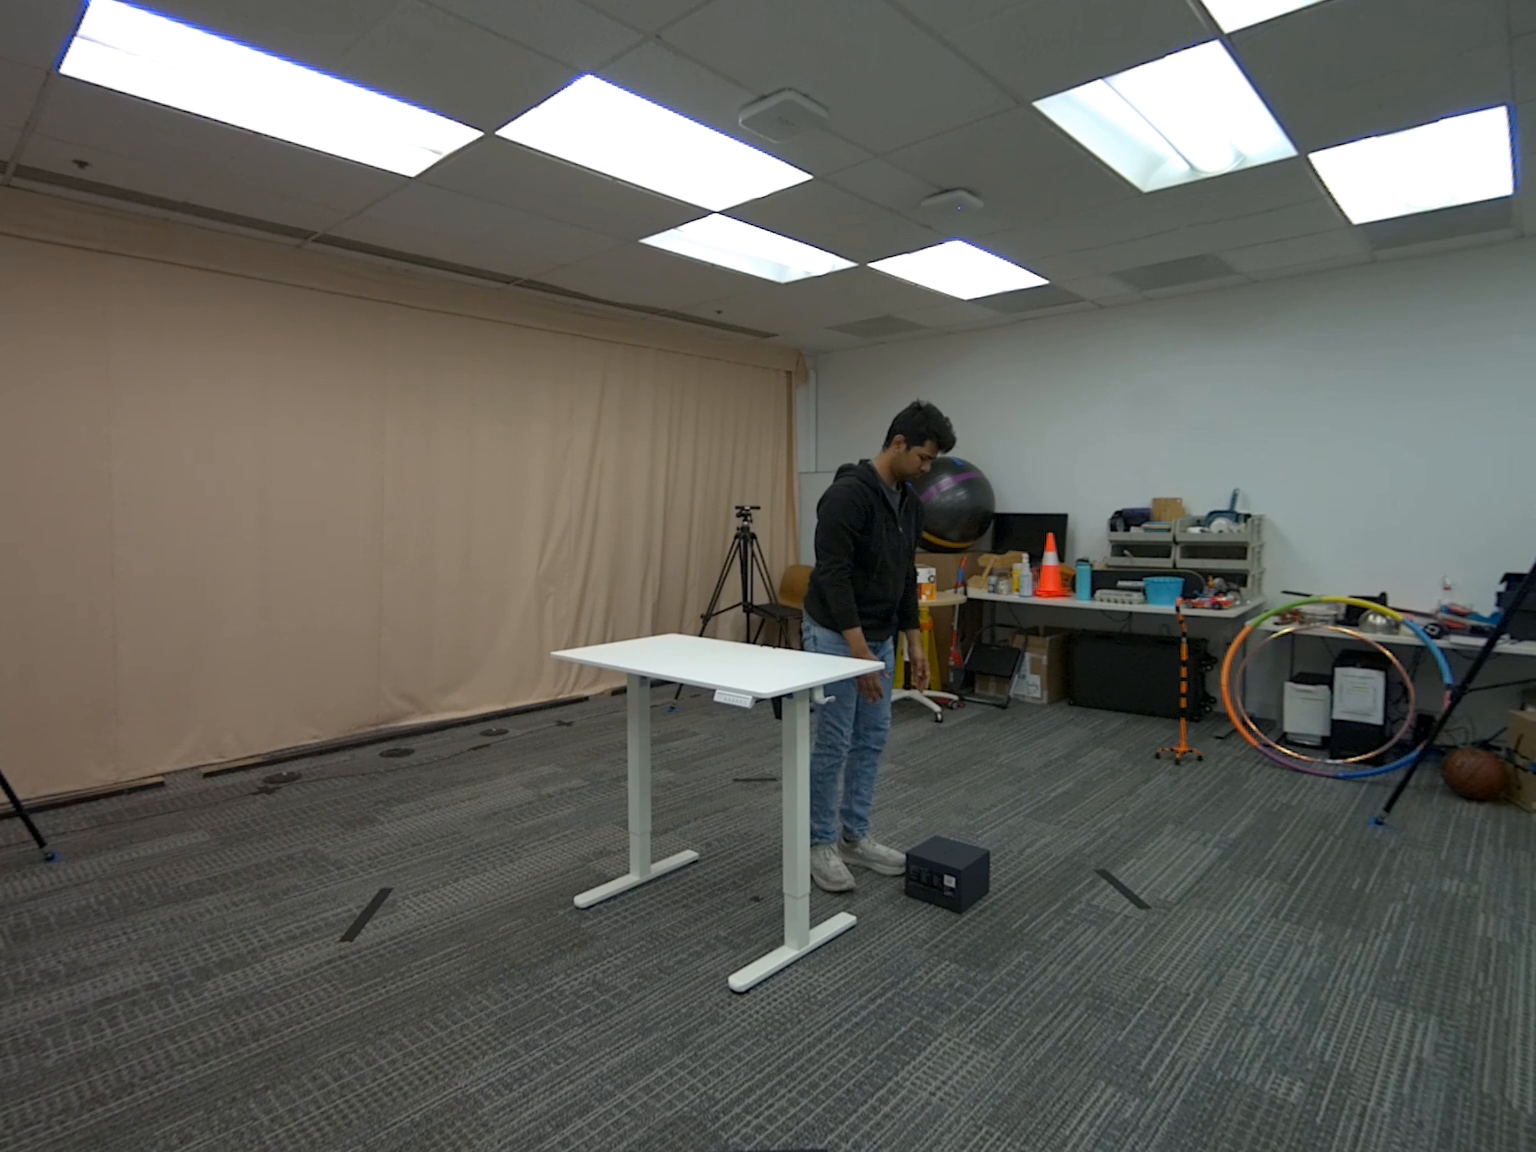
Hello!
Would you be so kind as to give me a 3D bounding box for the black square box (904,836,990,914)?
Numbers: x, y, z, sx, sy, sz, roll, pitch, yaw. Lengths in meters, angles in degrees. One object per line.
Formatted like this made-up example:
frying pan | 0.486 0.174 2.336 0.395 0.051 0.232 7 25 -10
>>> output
black square box | 0.642 1.056 3.007 0.224 0.155 0.221 3 4 40
